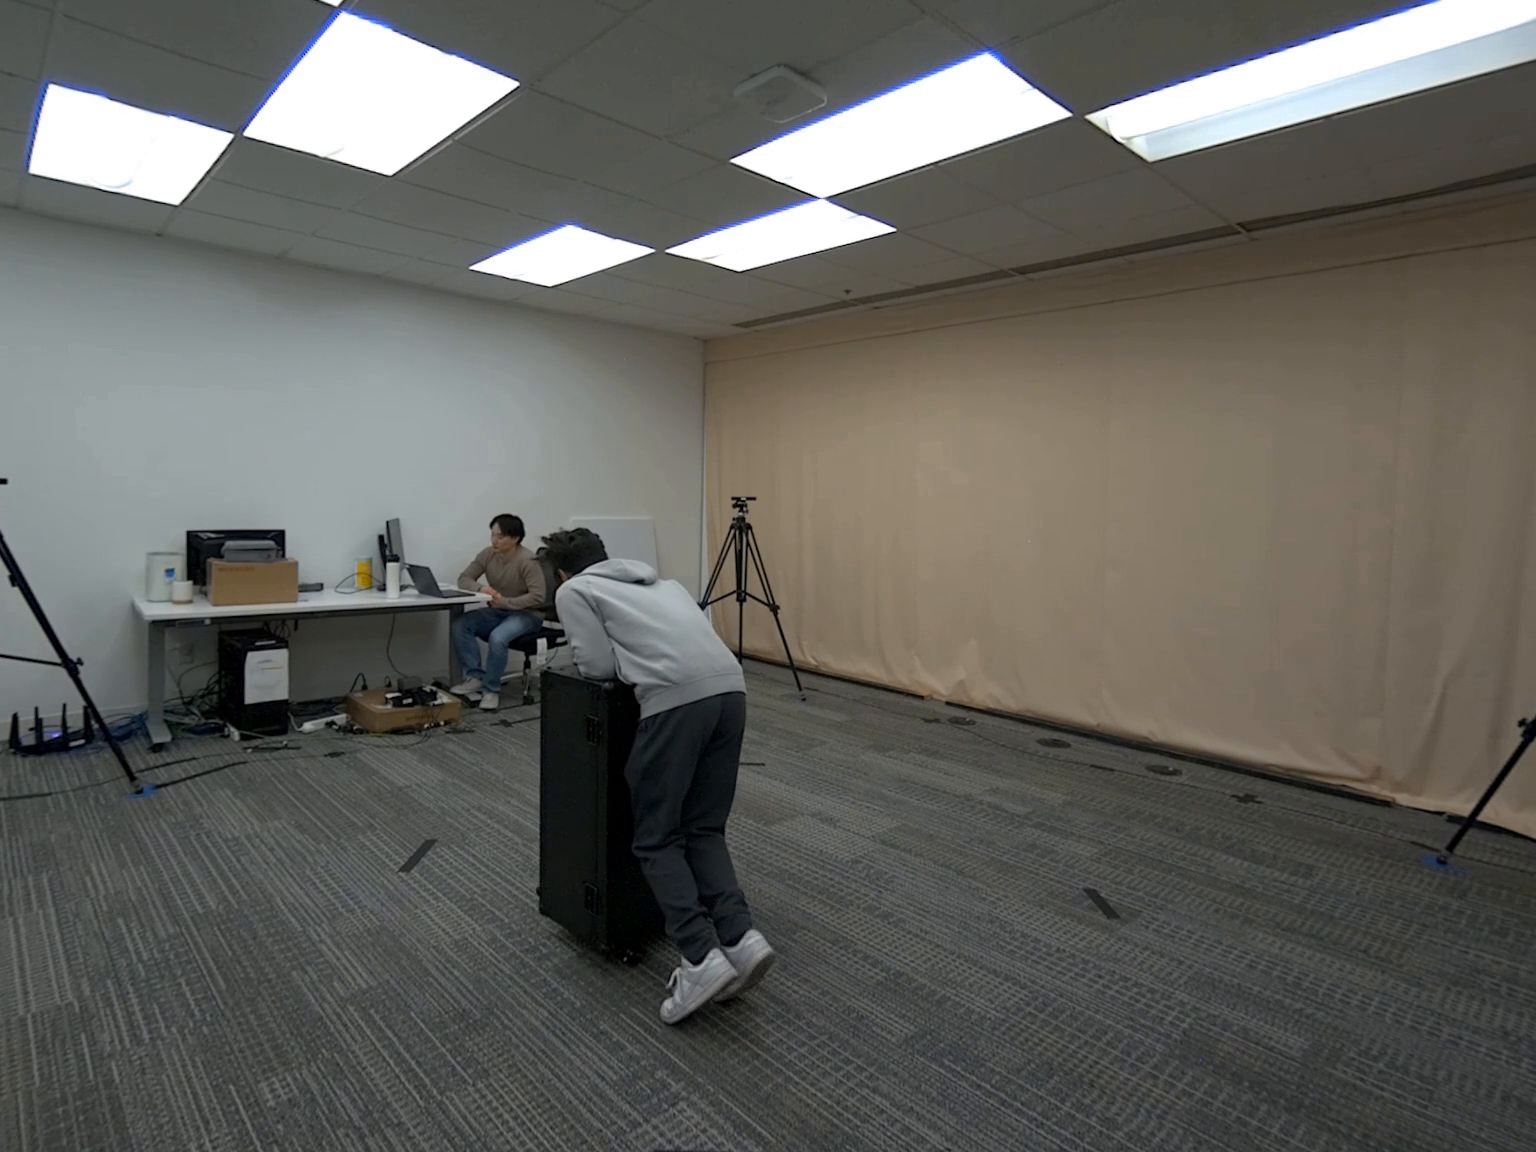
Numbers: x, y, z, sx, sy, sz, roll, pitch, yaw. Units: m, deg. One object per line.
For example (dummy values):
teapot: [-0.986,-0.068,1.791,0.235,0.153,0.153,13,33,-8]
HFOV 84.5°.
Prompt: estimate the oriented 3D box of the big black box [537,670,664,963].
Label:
big black box: [-0.448,0.720,2.699,0.406,0.860,0.509,2,3,44]
